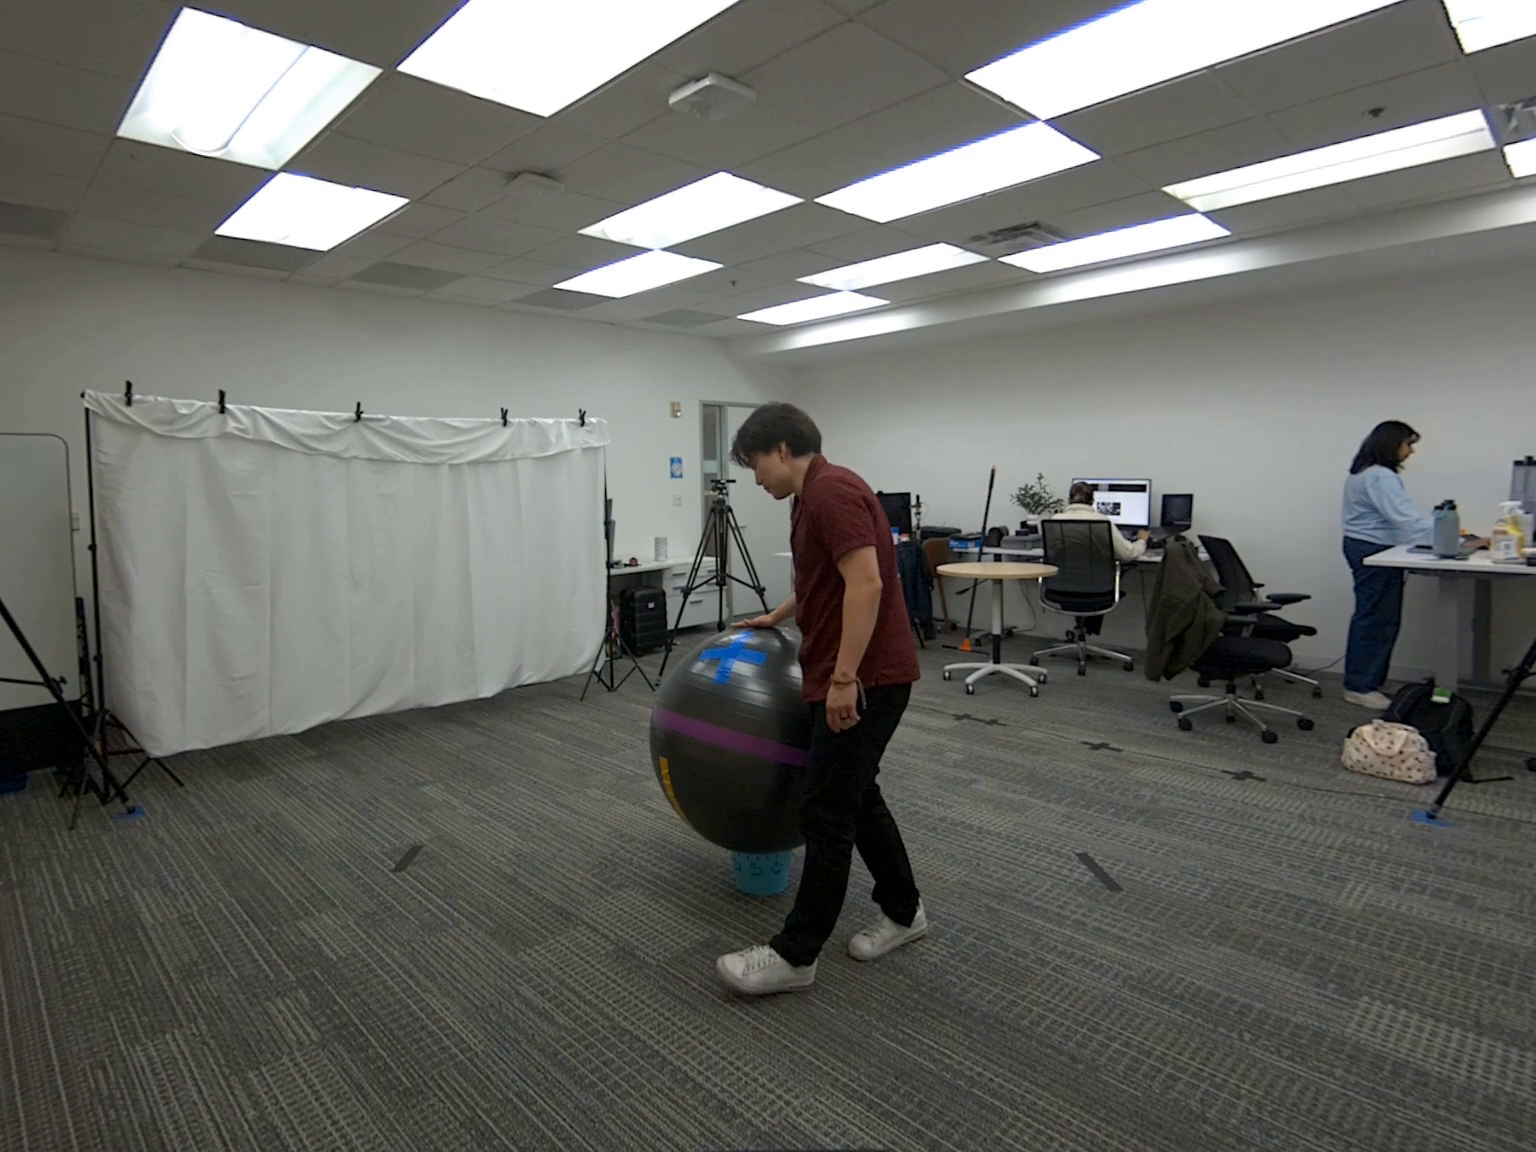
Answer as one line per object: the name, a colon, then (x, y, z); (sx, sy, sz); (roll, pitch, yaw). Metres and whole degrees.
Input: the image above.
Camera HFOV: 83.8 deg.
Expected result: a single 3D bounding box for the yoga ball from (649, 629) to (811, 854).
yoga ball: (-0.028, 0.554, 2.949); (0.757, 0.755, 0.762); (-1, 5, -2)
